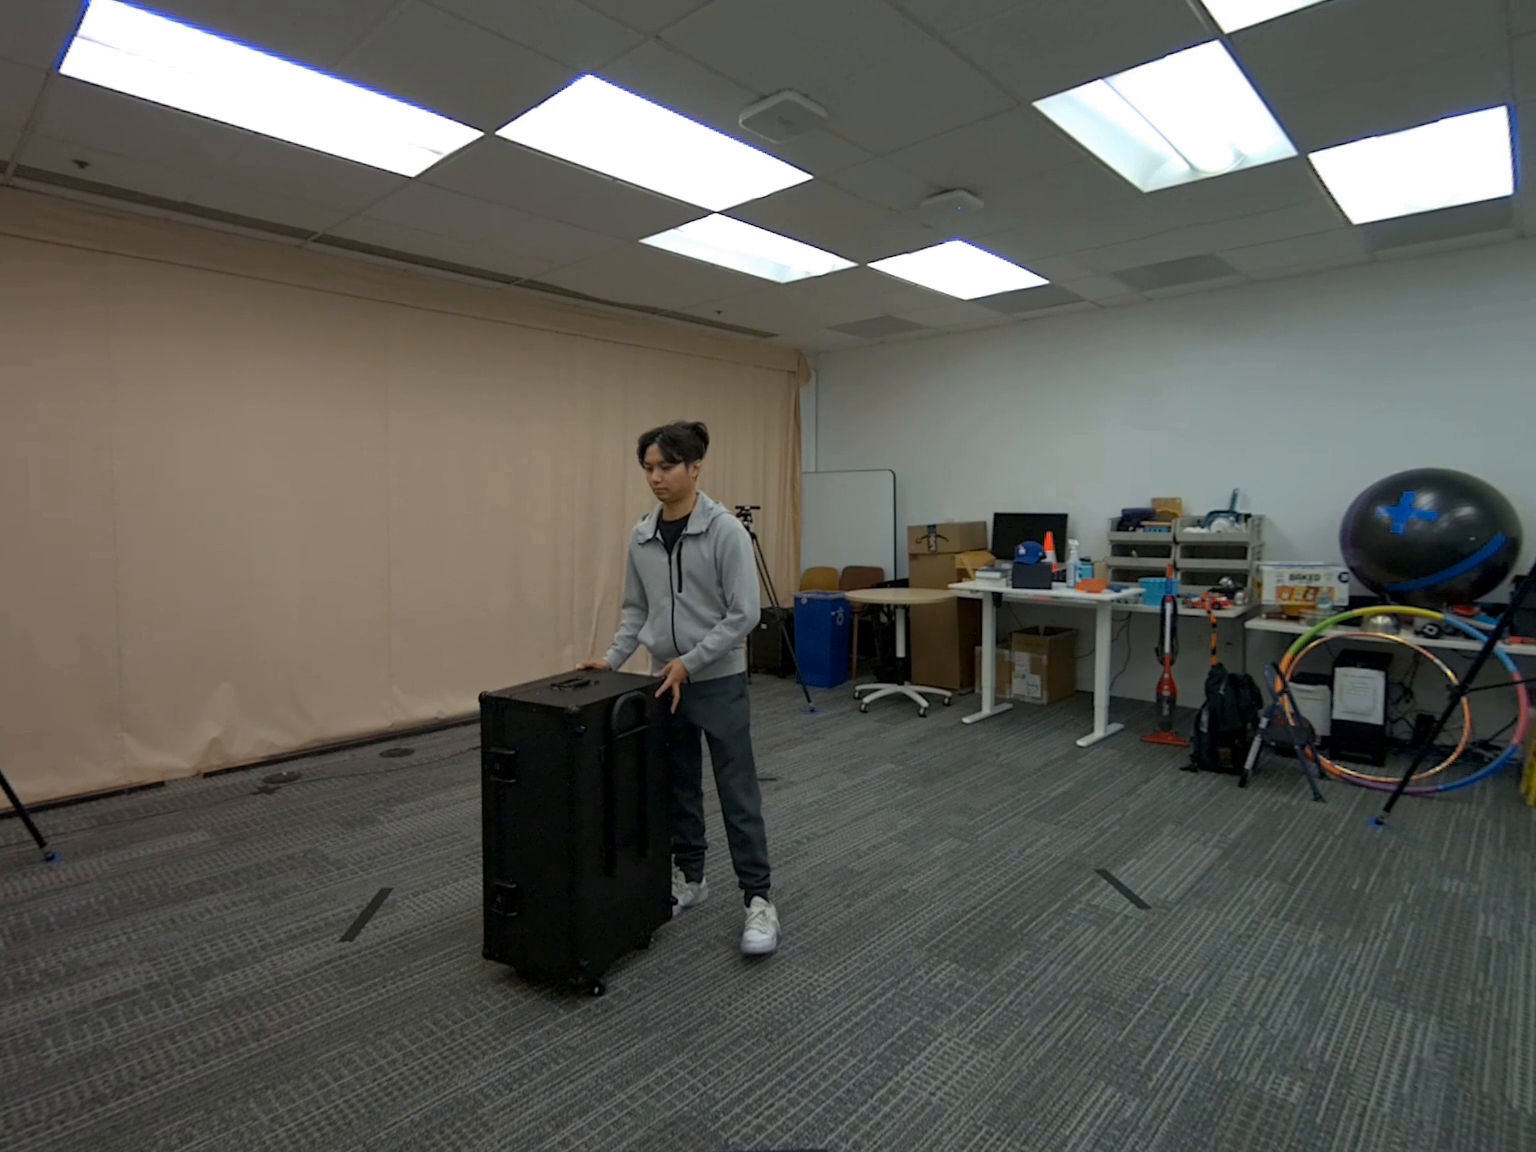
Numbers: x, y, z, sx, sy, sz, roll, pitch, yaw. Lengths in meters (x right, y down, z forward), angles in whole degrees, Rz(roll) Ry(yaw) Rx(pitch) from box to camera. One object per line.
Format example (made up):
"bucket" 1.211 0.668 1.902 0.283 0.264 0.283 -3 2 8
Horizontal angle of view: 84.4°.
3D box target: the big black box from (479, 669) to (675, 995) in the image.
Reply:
"big black box" -0.568 0.761 2.566 0.407 0.860 0.508 2 3 28
